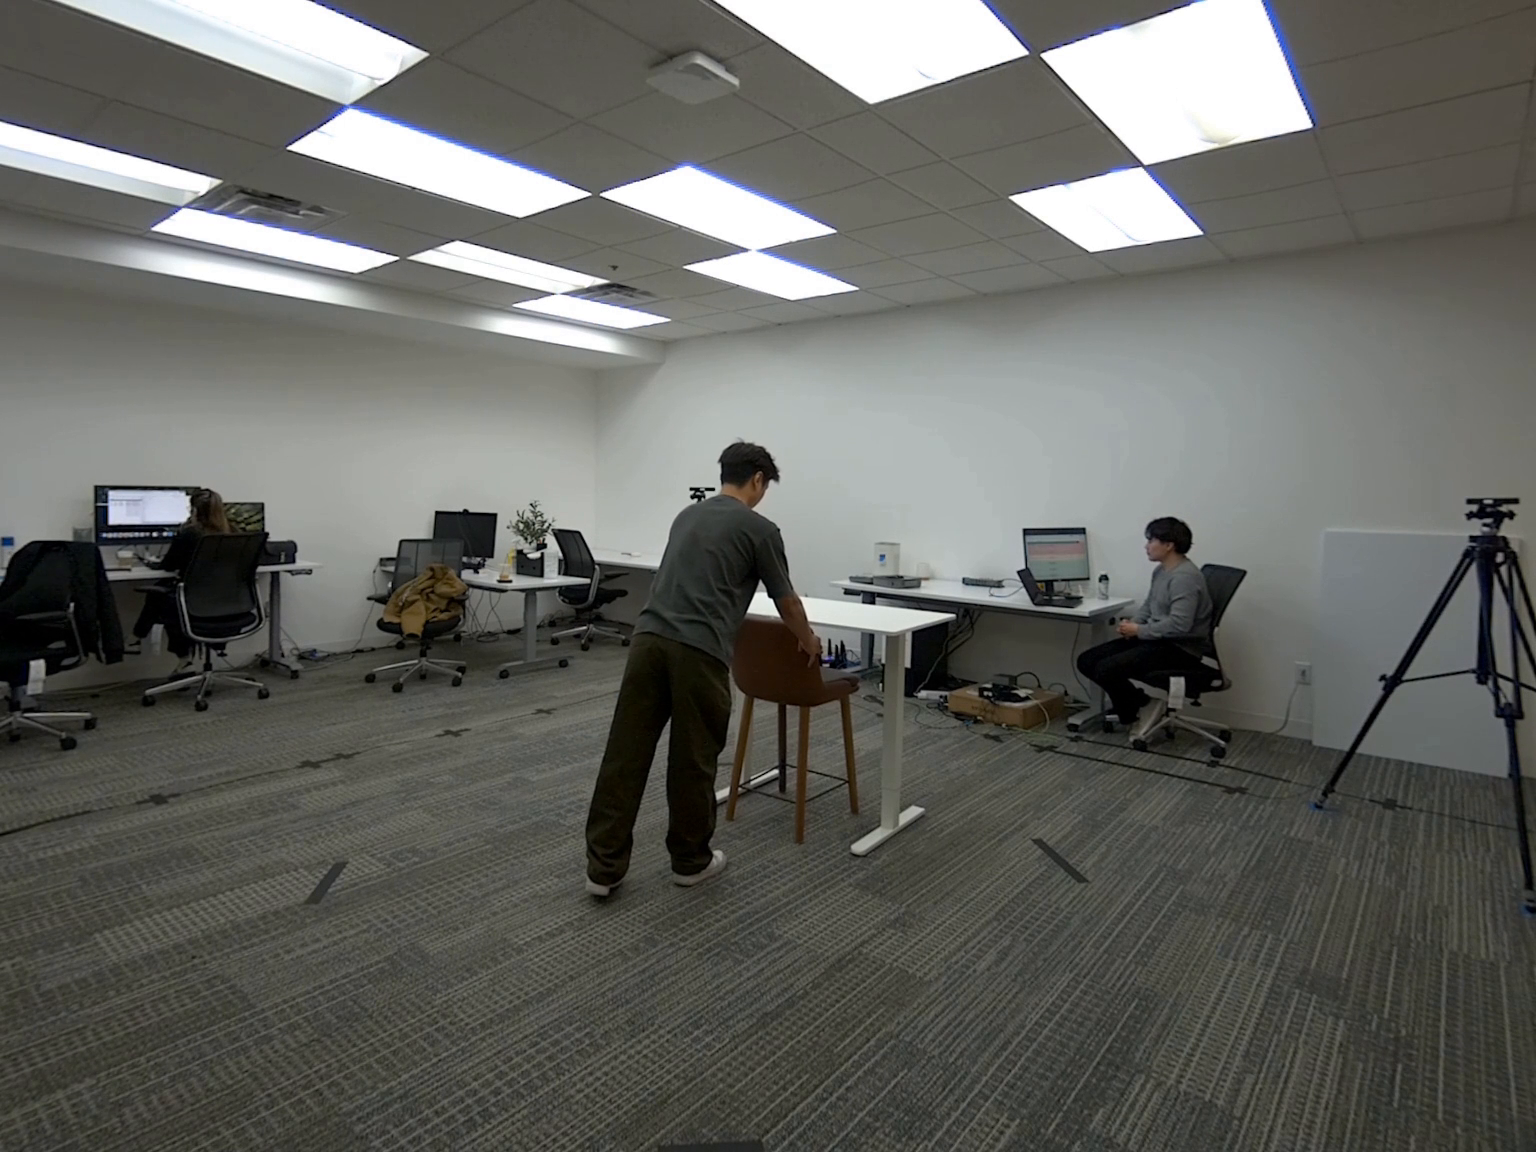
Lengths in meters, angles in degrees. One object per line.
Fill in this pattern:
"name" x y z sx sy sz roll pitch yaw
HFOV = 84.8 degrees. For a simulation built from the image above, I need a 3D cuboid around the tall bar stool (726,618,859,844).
"tall bar stool" 0.098 0.588 3.605 0.471 0.885 0.455 3 7 36
